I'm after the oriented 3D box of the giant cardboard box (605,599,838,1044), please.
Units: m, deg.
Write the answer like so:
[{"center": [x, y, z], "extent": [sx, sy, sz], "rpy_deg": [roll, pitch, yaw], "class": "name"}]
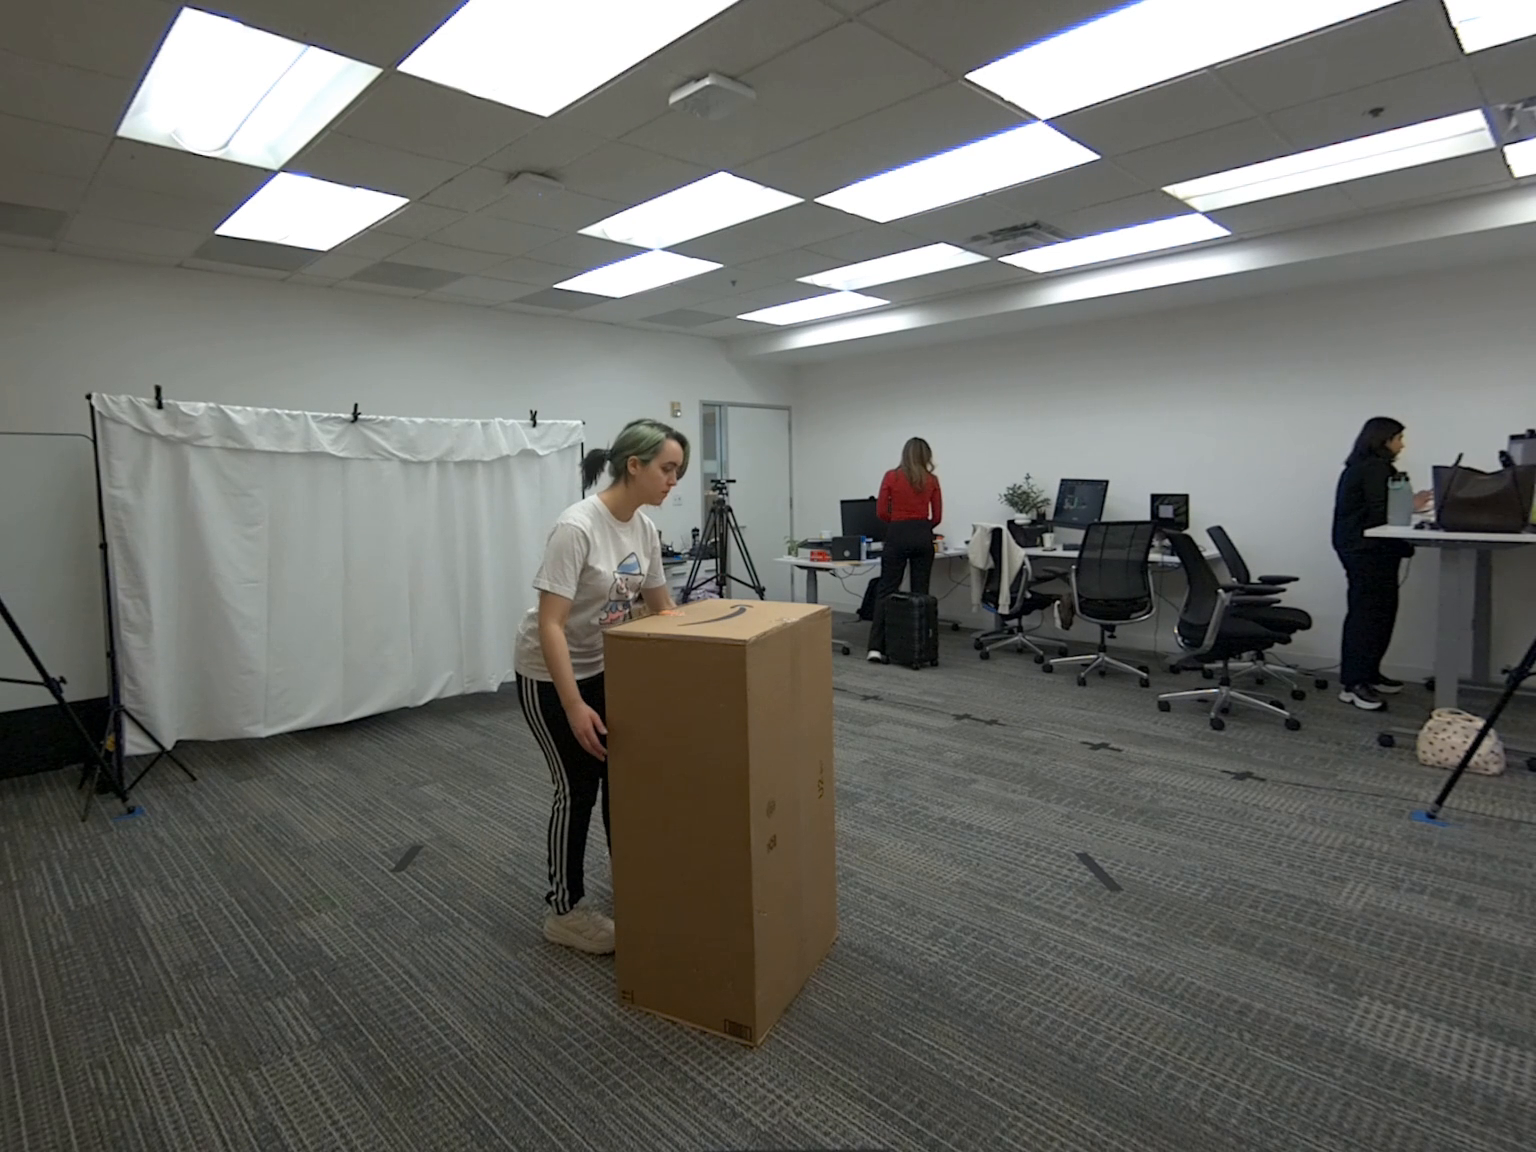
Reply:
[{"center": [-0.110, 0.620, 2.413], "extent": [0.436, 1.022, 0.566], "rpy_deg": [1, 5, 26], "class": "giant cardboard box"}]
